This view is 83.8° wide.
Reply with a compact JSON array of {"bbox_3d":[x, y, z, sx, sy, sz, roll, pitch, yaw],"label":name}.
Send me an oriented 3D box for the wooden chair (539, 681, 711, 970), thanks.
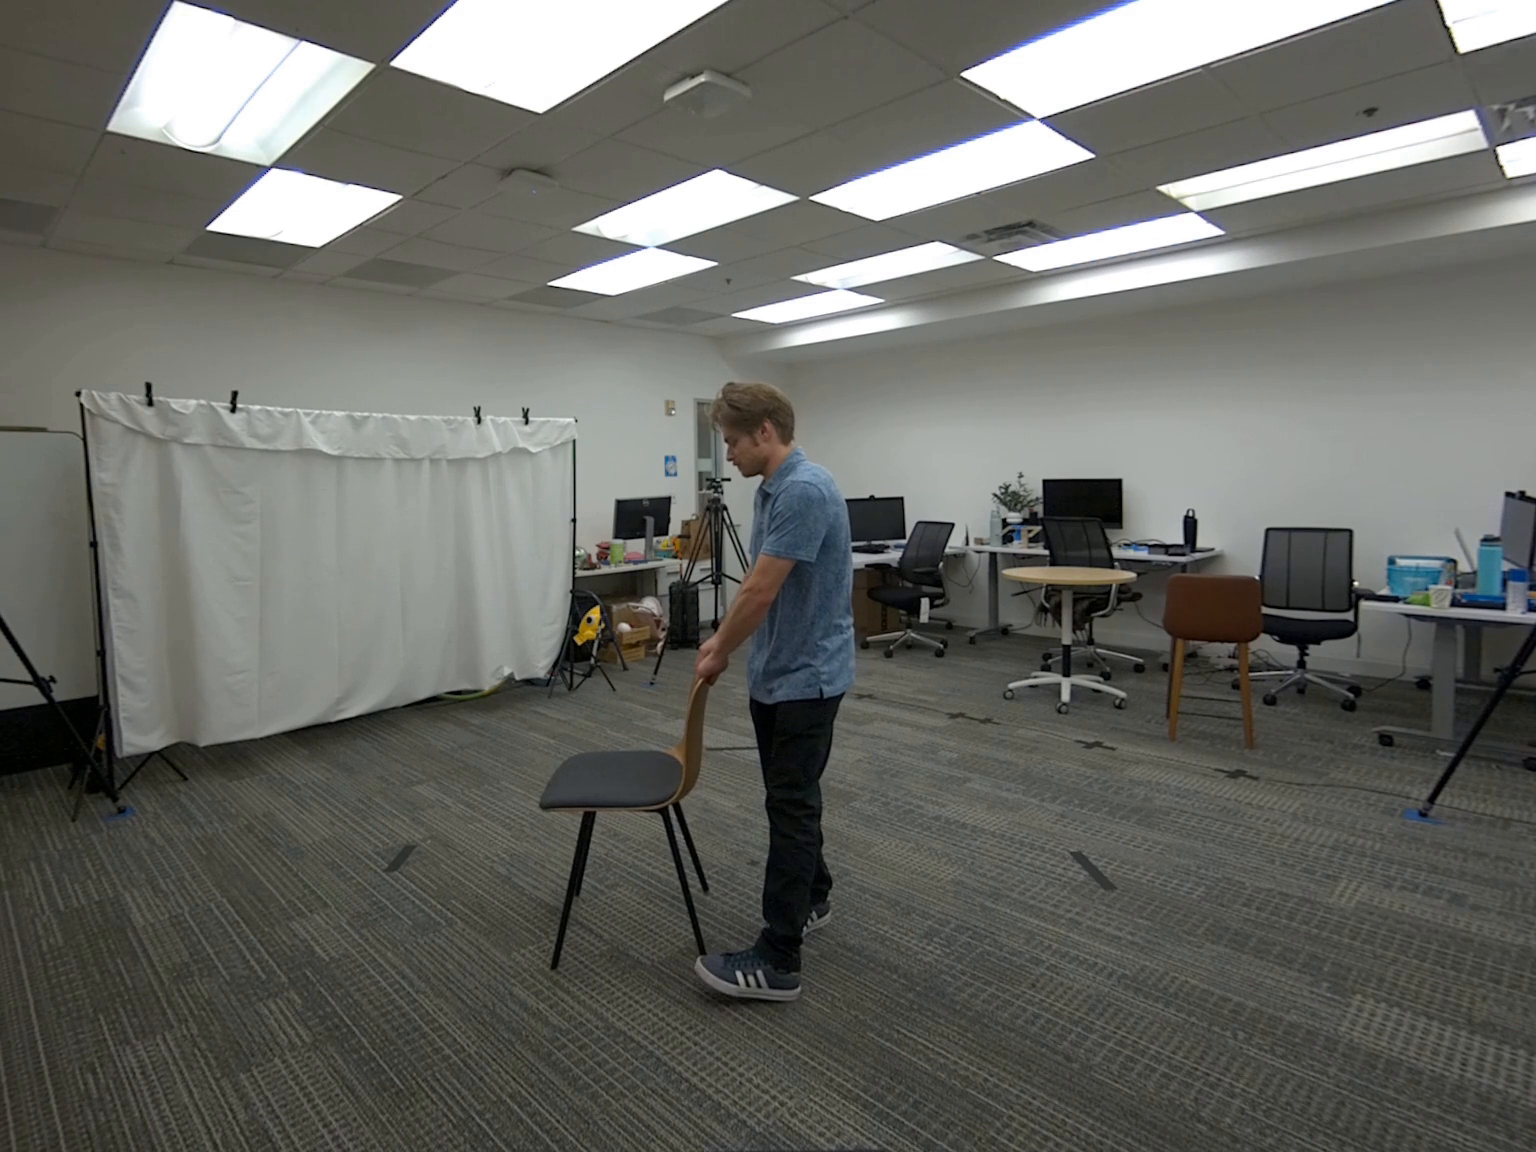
[{"bbox_3d":[-0.427,0.677,2.640,0.522,0.874,0.481,3,5,-3],"label":"wooden chair"}]
